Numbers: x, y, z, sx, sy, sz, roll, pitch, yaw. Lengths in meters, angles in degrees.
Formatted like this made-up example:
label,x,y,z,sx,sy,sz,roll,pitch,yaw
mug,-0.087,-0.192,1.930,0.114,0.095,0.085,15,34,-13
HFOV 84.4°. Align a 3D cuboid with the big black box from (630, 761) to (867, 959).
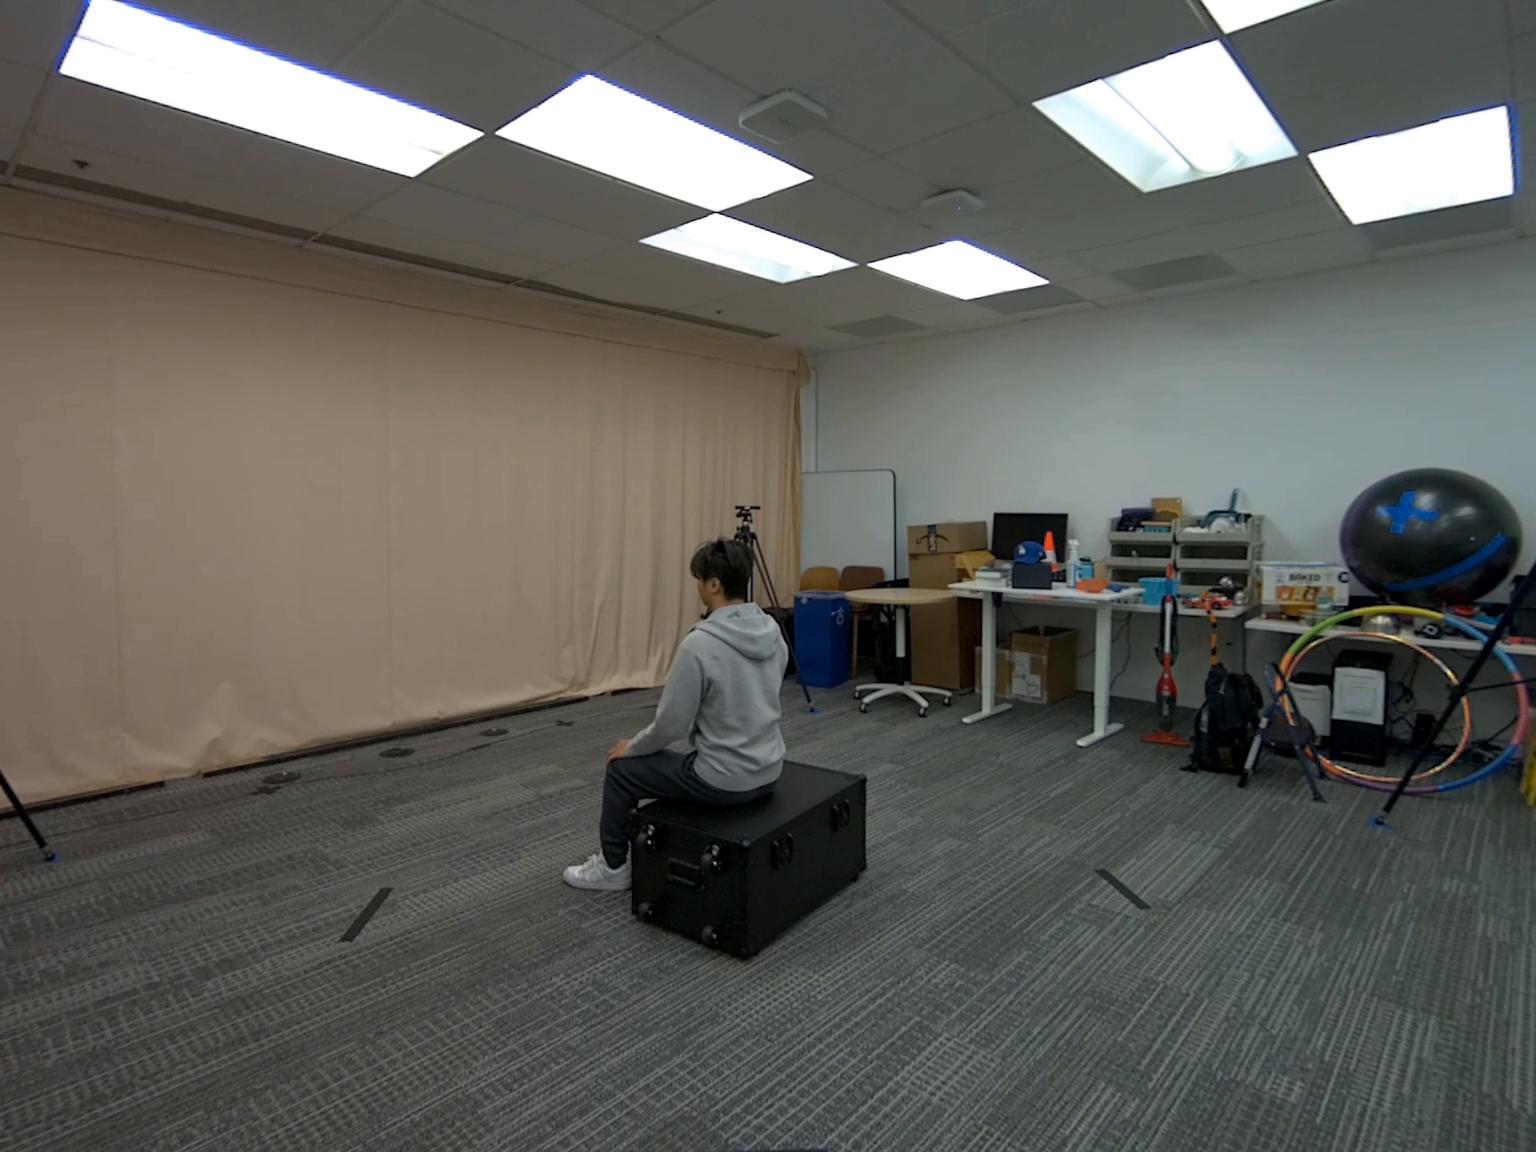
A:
label,x,y,z,sx,sy,sz,roll,pitch,yaw
big black box,-0.020,0.957,3.010,0.538,0.395,0.836,3,6,36
